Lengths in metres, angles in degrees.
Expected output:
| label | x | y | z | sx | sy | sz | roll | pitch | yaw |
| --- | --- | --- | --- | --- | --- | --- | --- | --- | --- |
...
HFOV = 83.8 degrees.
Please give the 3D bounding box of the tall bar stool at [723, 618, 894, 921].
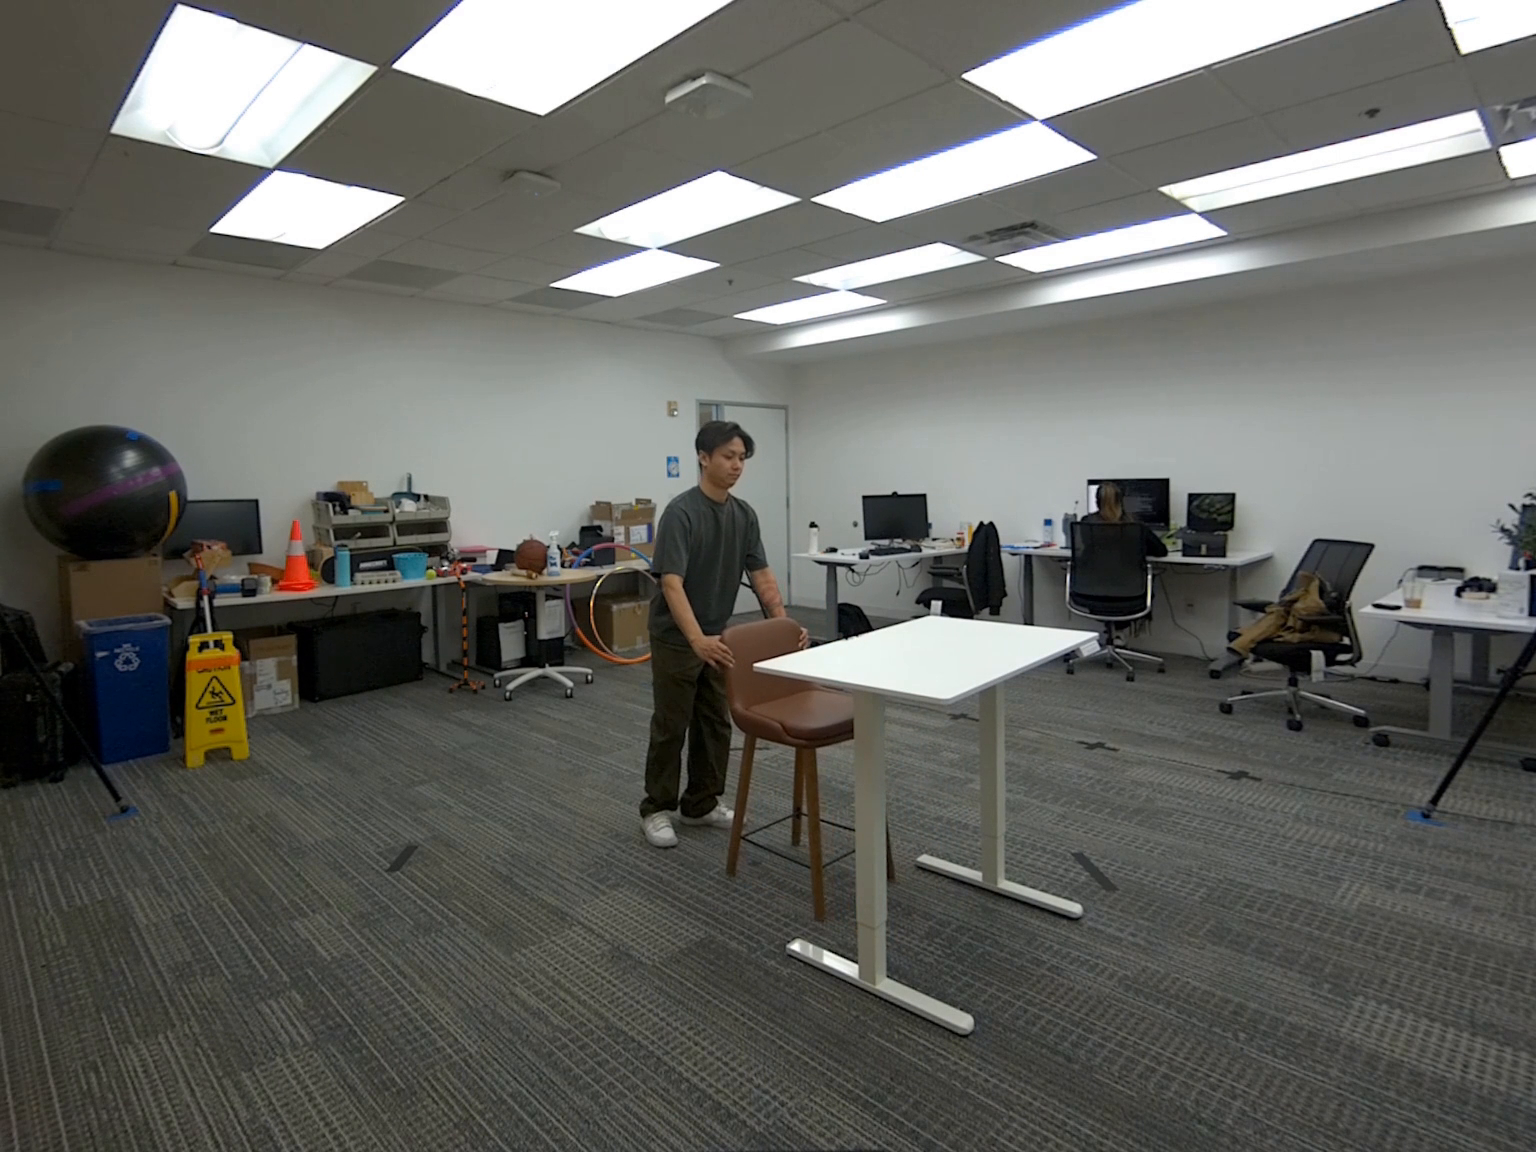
| label | x | y | z | sx | sy | sz | roll | pitch | yaw |
| --- | --- | --- | --- | --- | --- | --- | --- | --- | --- |
| tall bar stool | 0.126 | 0.615 | 2.975 | 0.444 | 0.888 | 0.481 | -5 | 3 | -44 |
